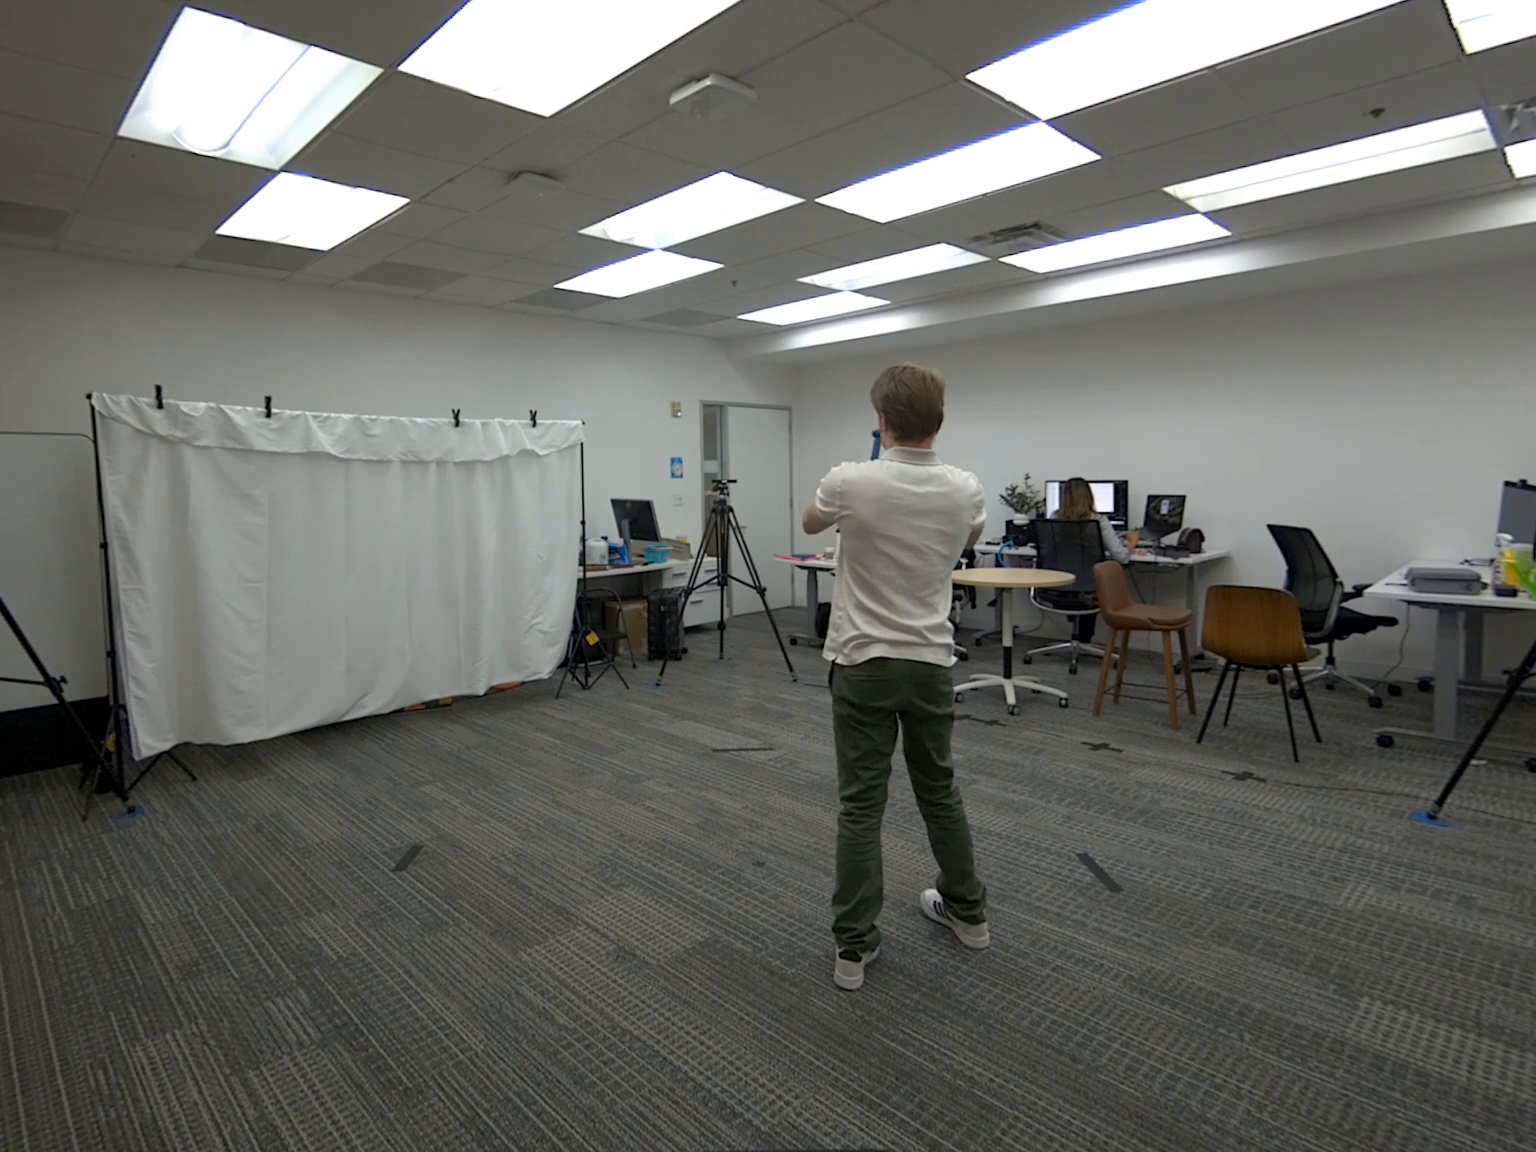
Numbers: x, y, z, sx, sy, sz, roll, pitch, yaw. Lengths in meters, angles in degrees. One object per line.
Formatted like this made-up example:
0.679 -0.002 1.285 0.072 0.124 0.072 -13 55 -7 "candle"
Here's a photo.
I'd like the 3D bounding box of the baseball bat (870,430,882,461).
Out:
0.339 -0.236 2.869 0.089 0.547 0.088 11 -10 0 "baseball bat"
